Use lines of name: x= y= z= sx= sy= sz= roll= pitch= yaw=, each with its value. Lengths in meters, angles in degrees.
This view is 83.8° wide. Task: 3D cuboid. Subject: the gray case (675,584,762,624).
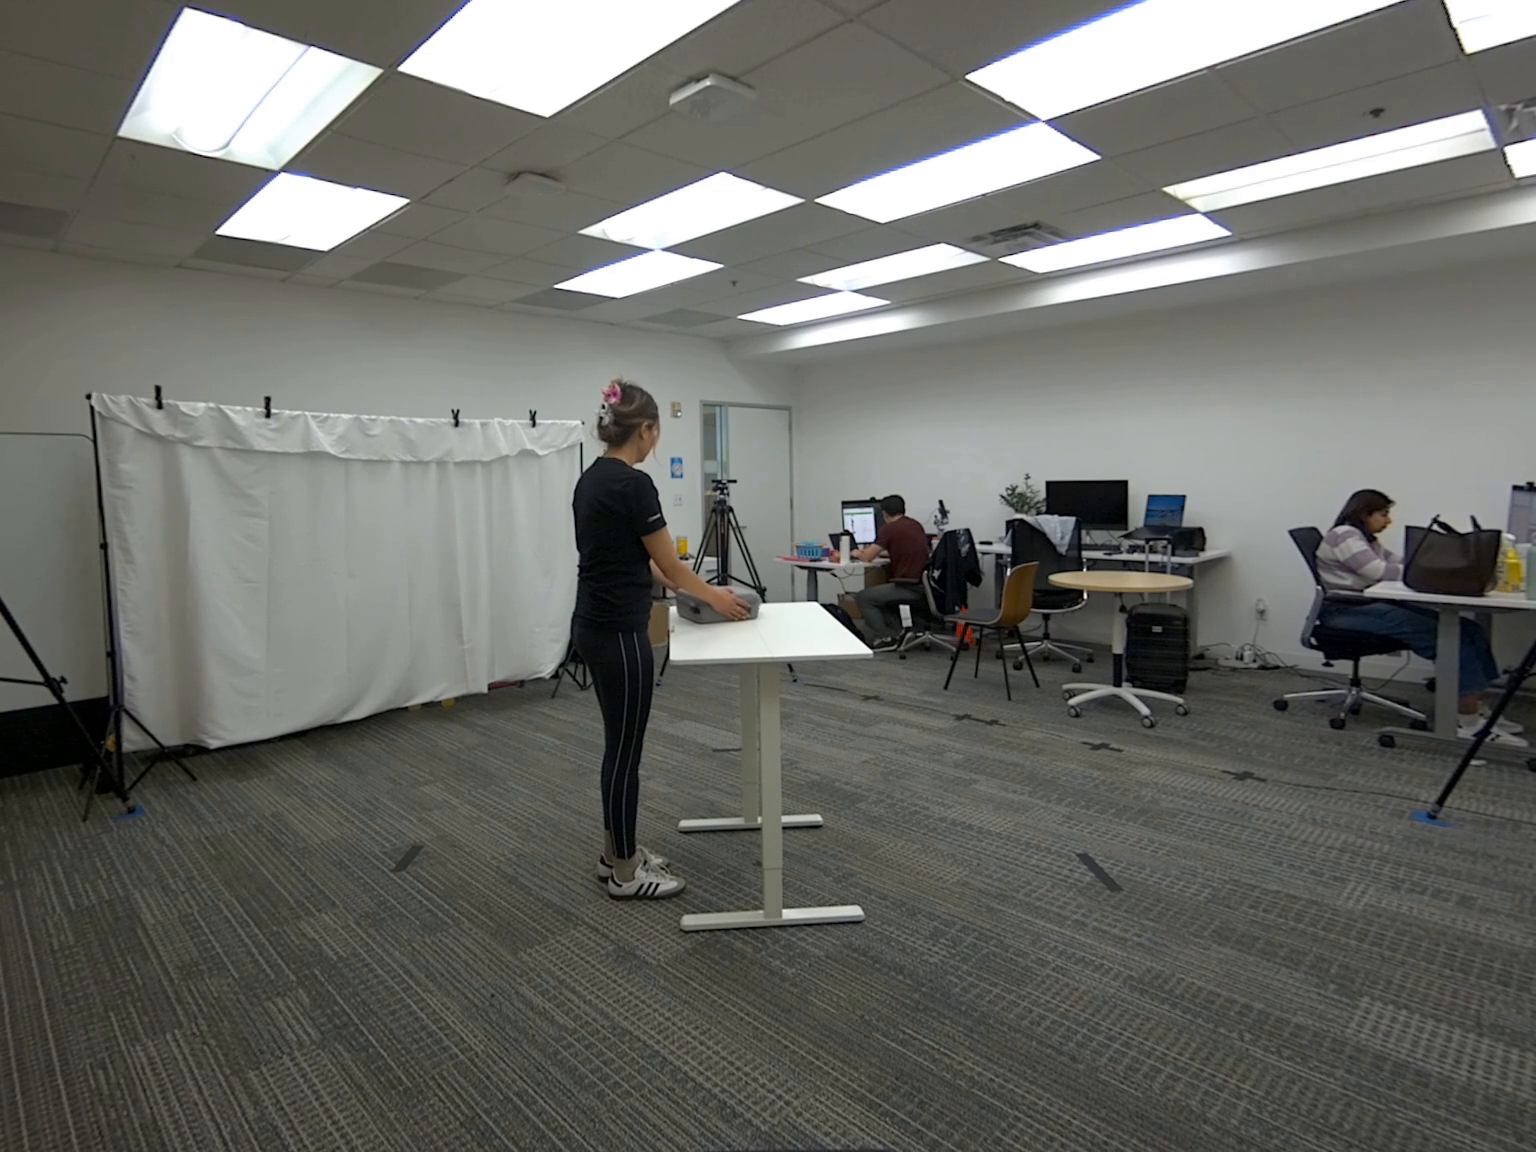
gray case: x=-0.182 y=0.105 z=3.210 sx=0.255 sy=0.104 sz=0.263 roll=-3 pitch=6 yaw=-23
